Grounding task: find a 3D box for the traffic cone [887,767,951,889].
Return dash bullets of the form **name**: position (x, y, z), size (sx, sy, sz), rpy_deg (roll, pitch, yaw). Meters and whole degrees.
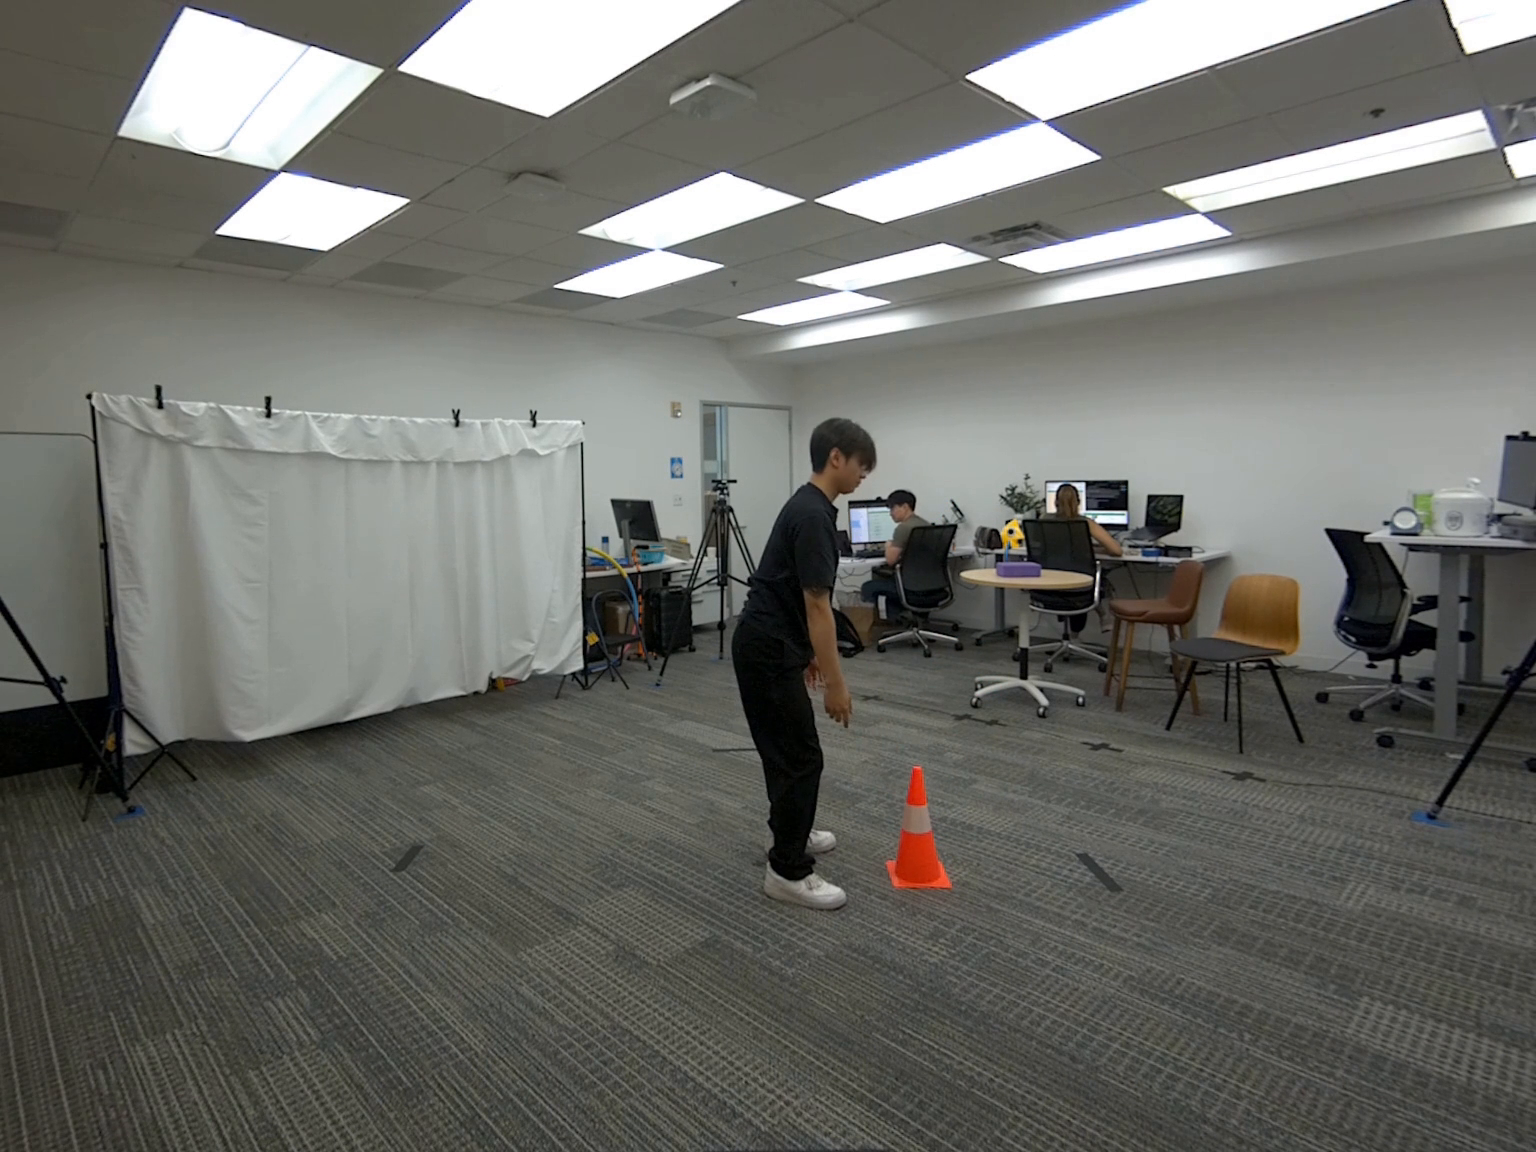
- **traffic cone**: position (0.536, 0.868, 2.986), size (0.203, 0.382, 0.206), rpy_deg (-1, 5, -1)
